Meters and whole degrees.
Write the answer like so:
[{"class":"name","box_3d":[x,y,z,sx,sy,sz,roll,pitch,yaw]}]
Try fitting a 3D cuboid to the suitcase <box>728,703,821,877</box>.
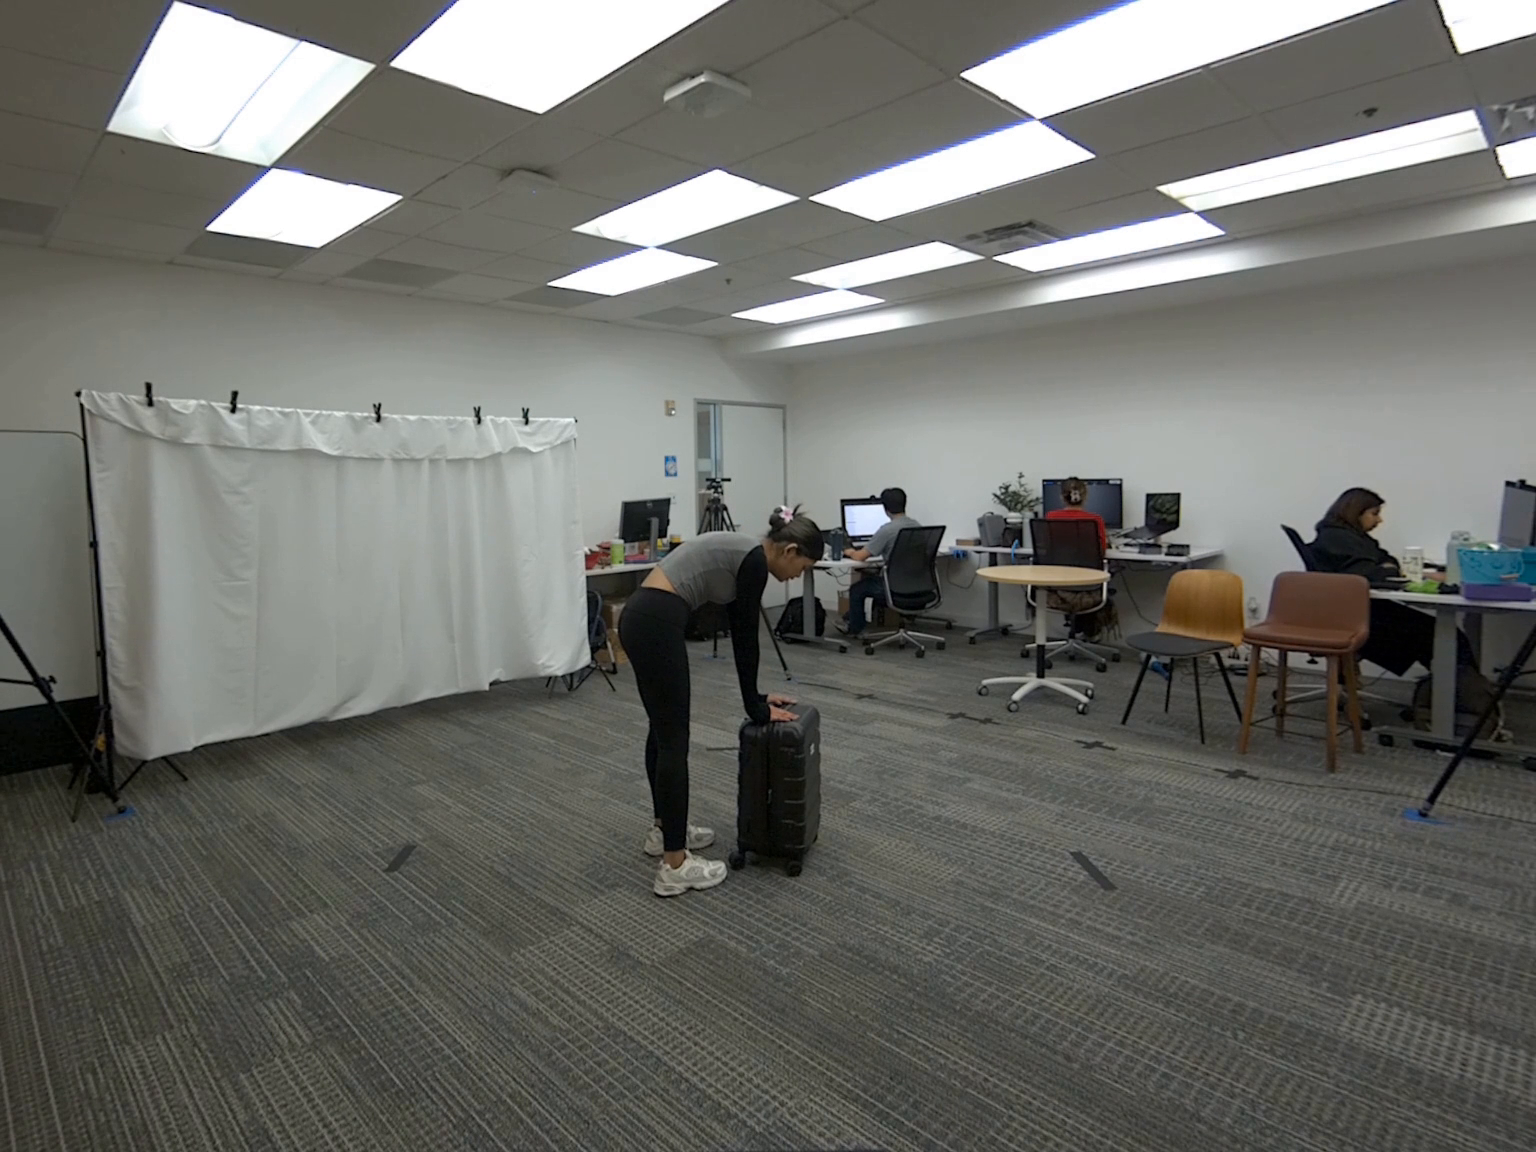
[{"class":"suitcase","box_3d":[0.043,0.760,3.169,0.252,0.547,0.370,2,5,16]}]
